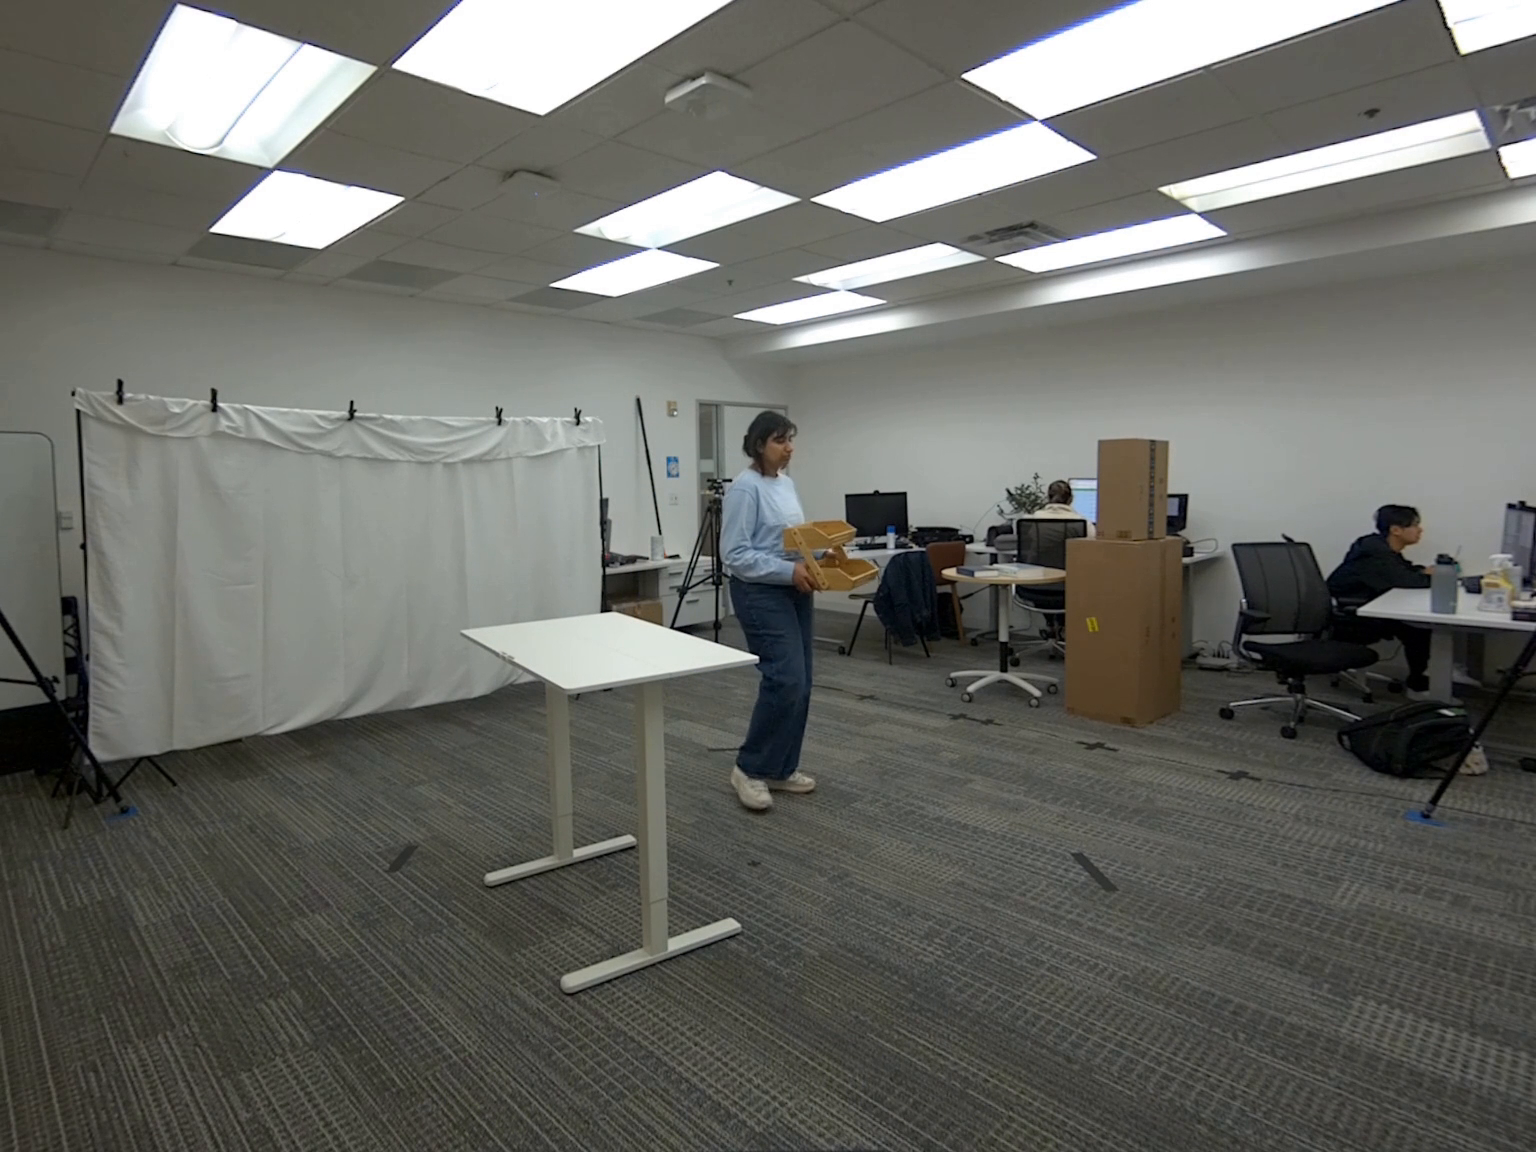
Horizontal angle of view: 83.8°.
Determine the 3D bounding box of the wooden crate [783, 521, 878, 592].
[{"bbox_3d":[0.267,-0.095,3.629,0.309,0.272,0.318,-1,7,29],"label":"wooden crate"}]
